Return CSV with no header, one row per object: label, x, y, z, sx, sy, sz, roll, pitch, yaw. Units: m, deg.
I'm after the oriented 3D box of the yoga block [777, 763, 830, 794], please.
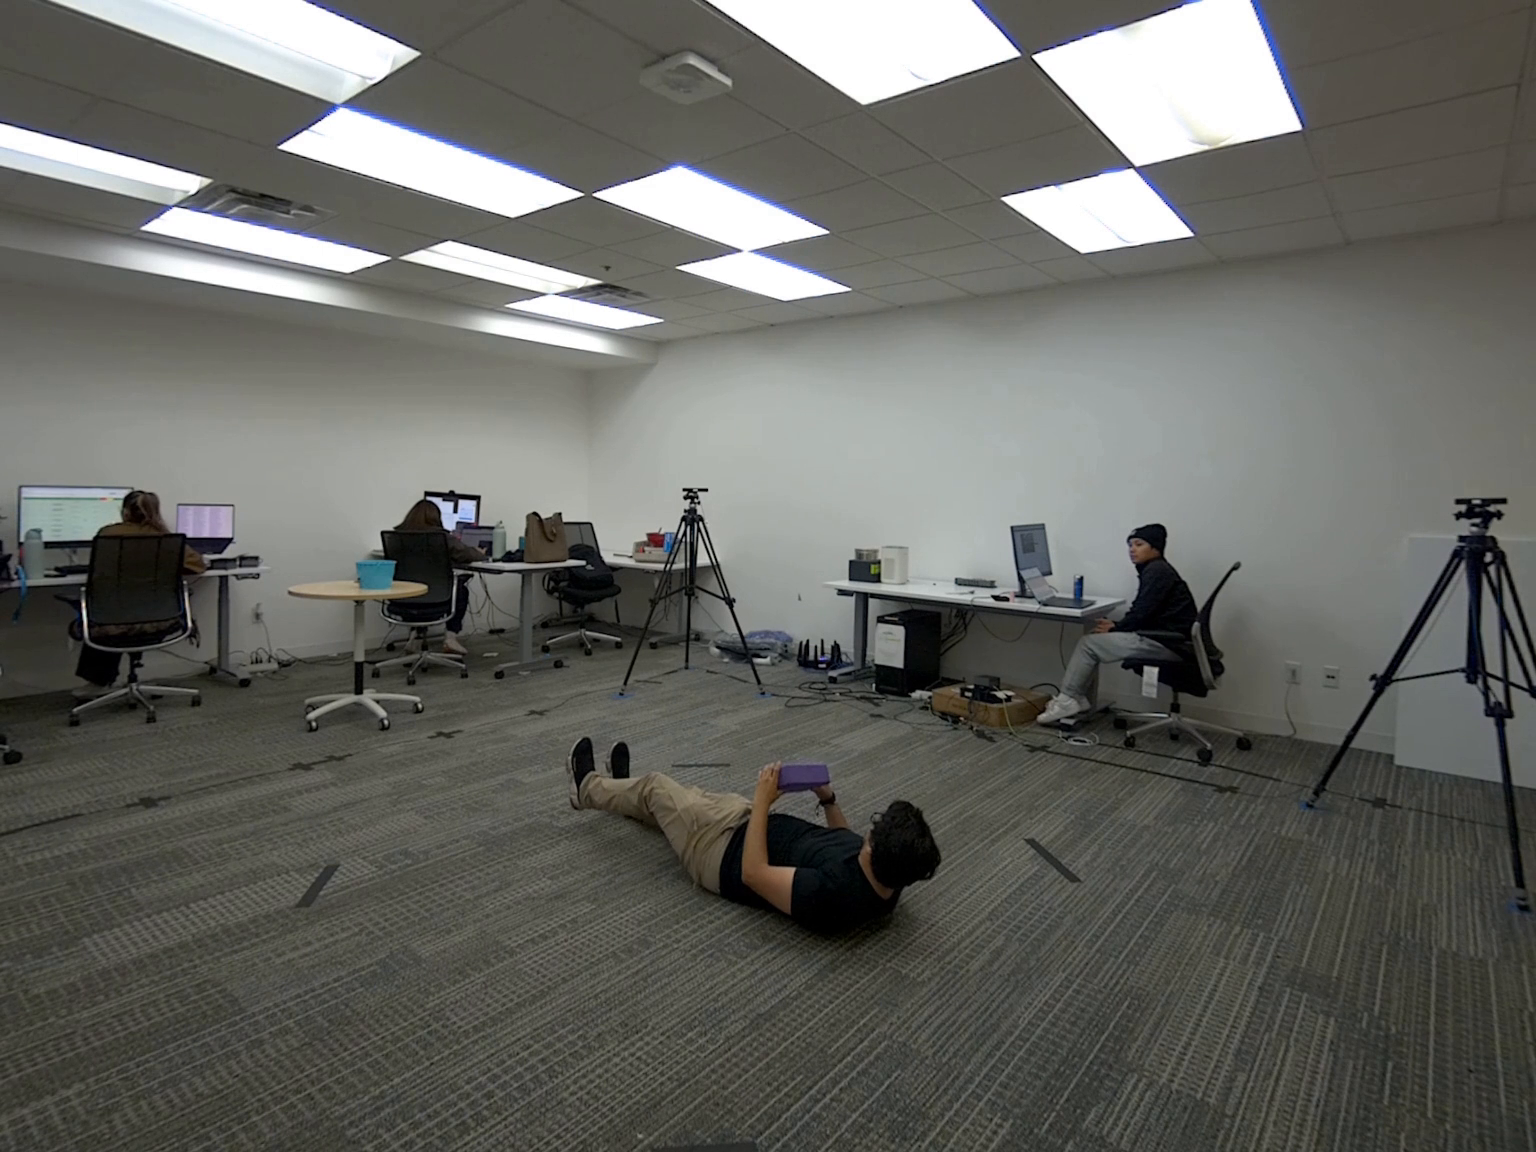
yoga block,0.088,0.720,3.043,0.221,0.078,0.151,11,-28,-44
